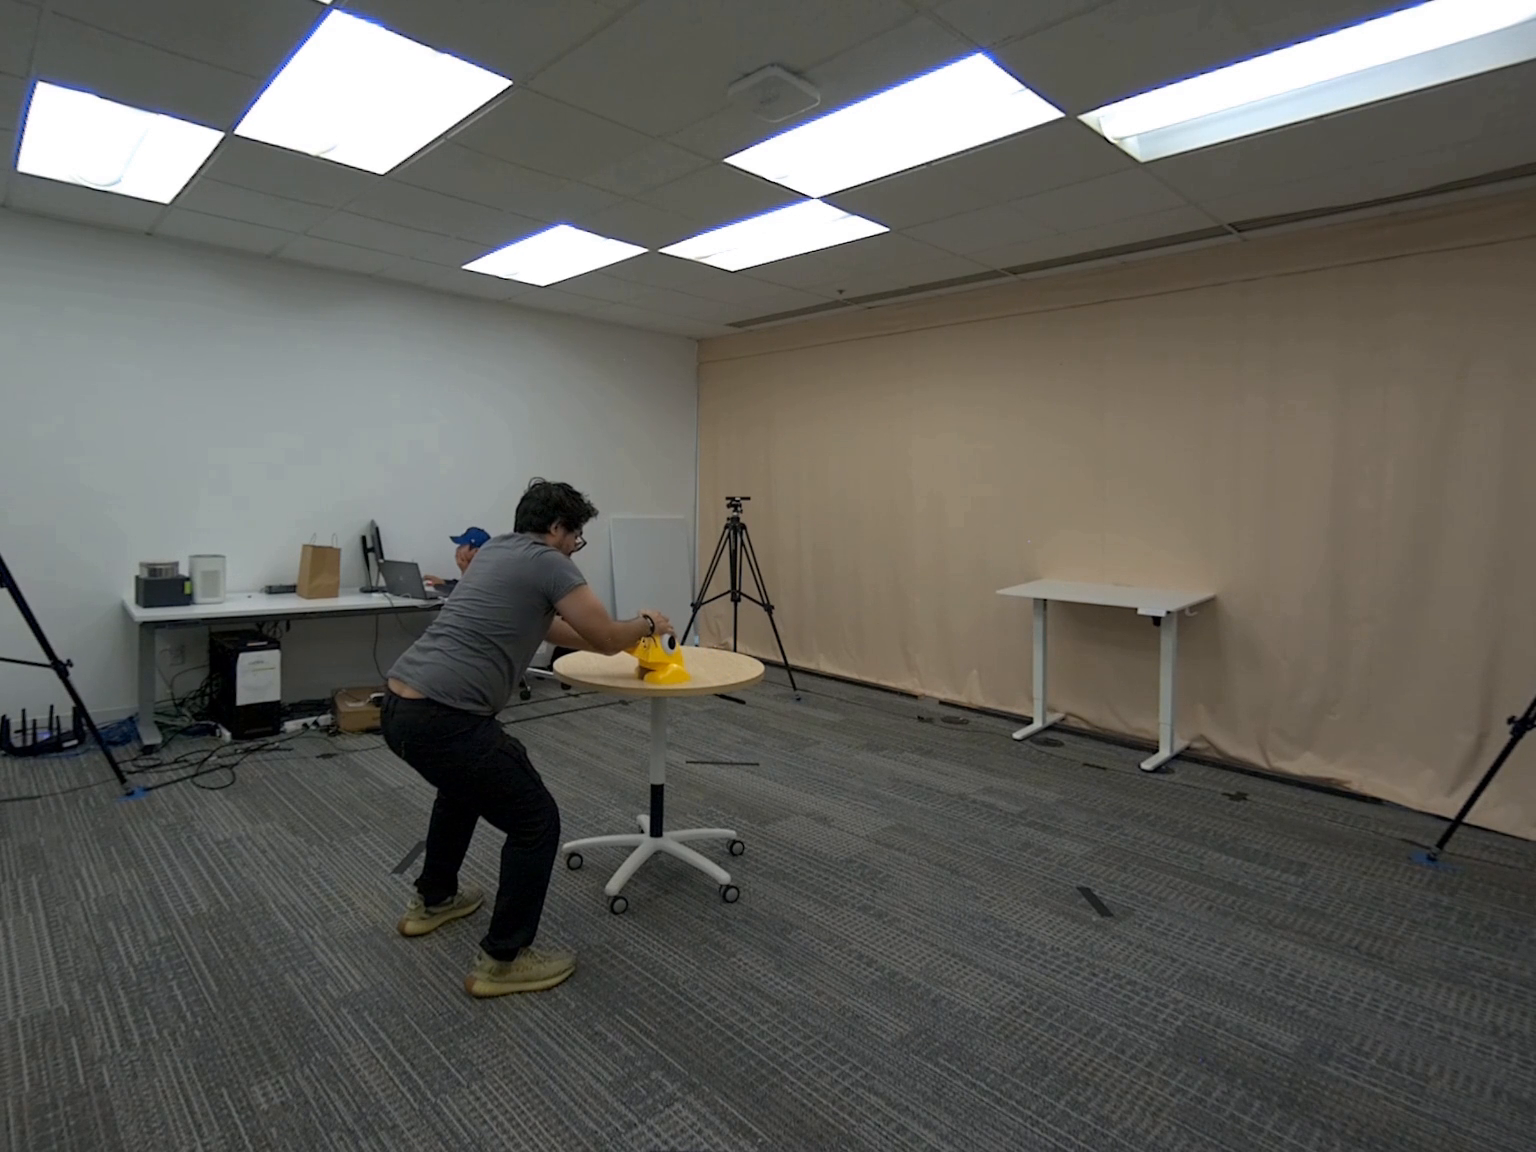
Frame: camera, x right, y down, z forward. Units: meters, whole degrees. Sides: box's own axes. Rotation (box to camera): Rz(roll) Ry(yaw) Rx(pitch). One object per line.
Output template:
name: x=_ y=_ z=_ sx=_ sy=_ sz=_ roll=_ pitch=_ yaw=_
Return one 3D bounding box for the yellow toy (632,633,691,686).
yellow toy: x=-0.375 y=0.234 z=2.853 sx=0.189 sy=0.230 sz=0.210 roll=-1 pitch=6 yaw=-31
